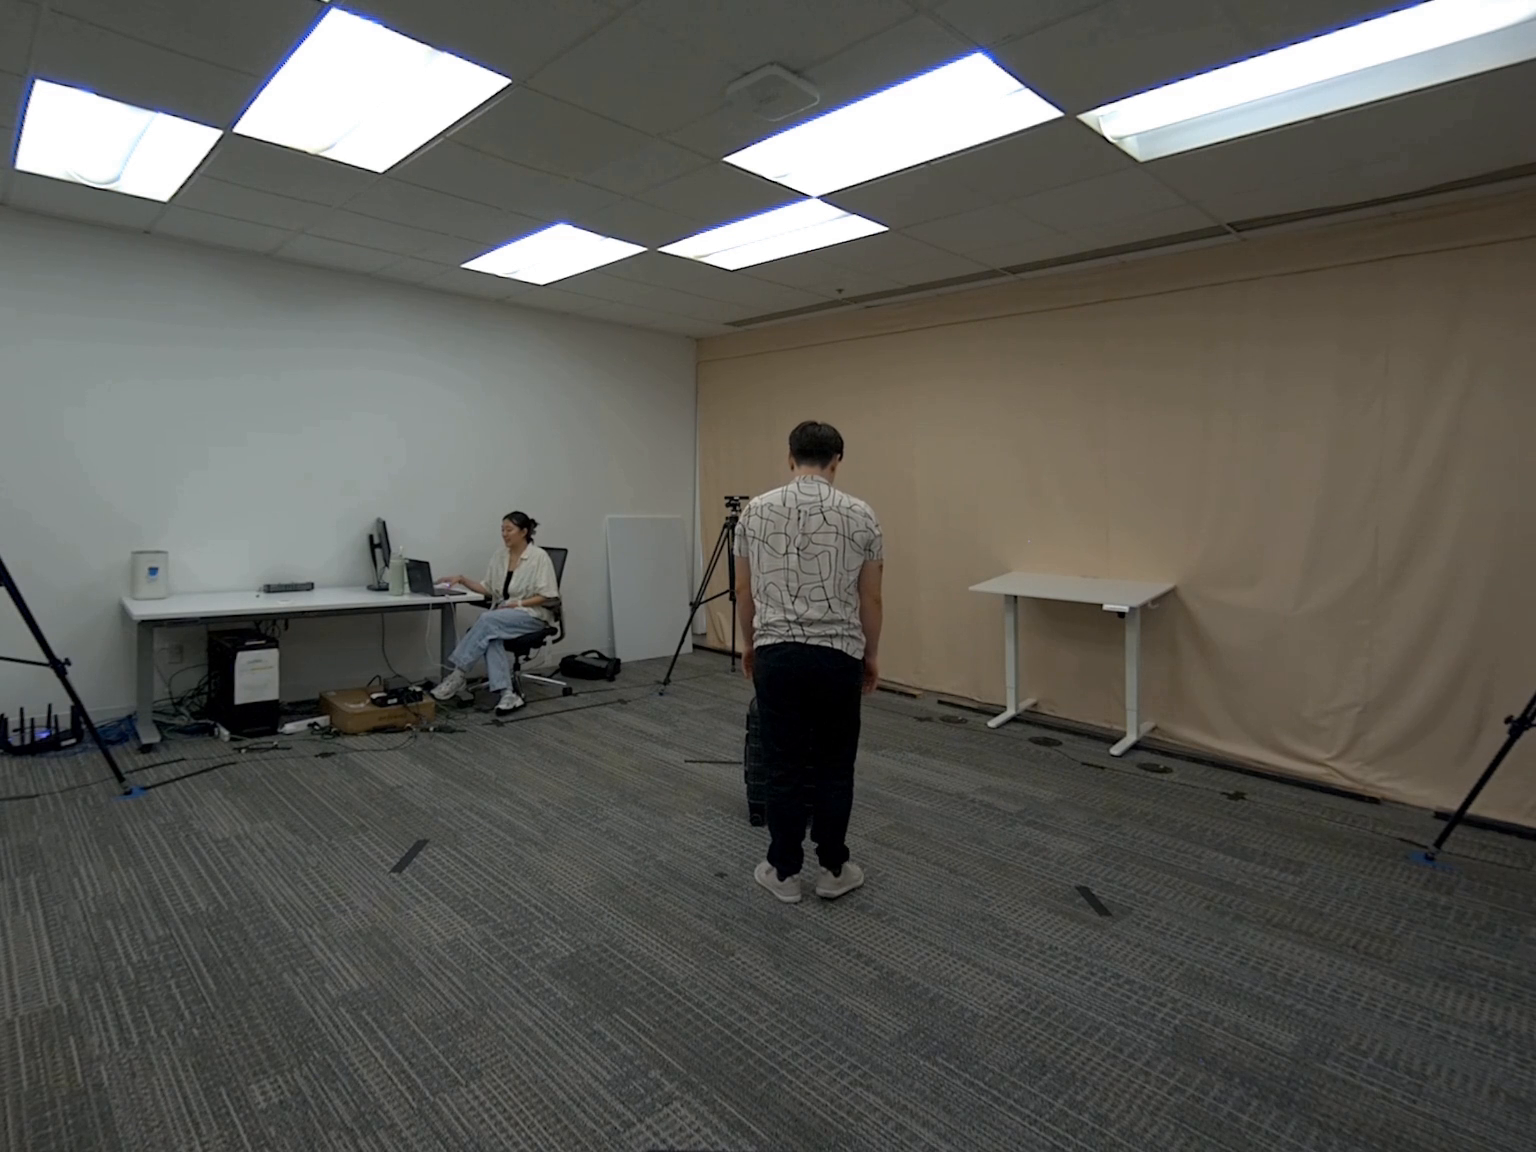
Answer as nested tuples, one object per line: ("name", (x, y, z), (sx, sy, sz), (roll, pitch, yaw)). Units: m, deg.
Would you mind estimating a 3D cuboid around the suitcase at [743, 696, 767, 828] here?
("suitcase", (0.085, 0.787, 3.674), (0.377, 0.548, 0.247), (1, 2, 5))
